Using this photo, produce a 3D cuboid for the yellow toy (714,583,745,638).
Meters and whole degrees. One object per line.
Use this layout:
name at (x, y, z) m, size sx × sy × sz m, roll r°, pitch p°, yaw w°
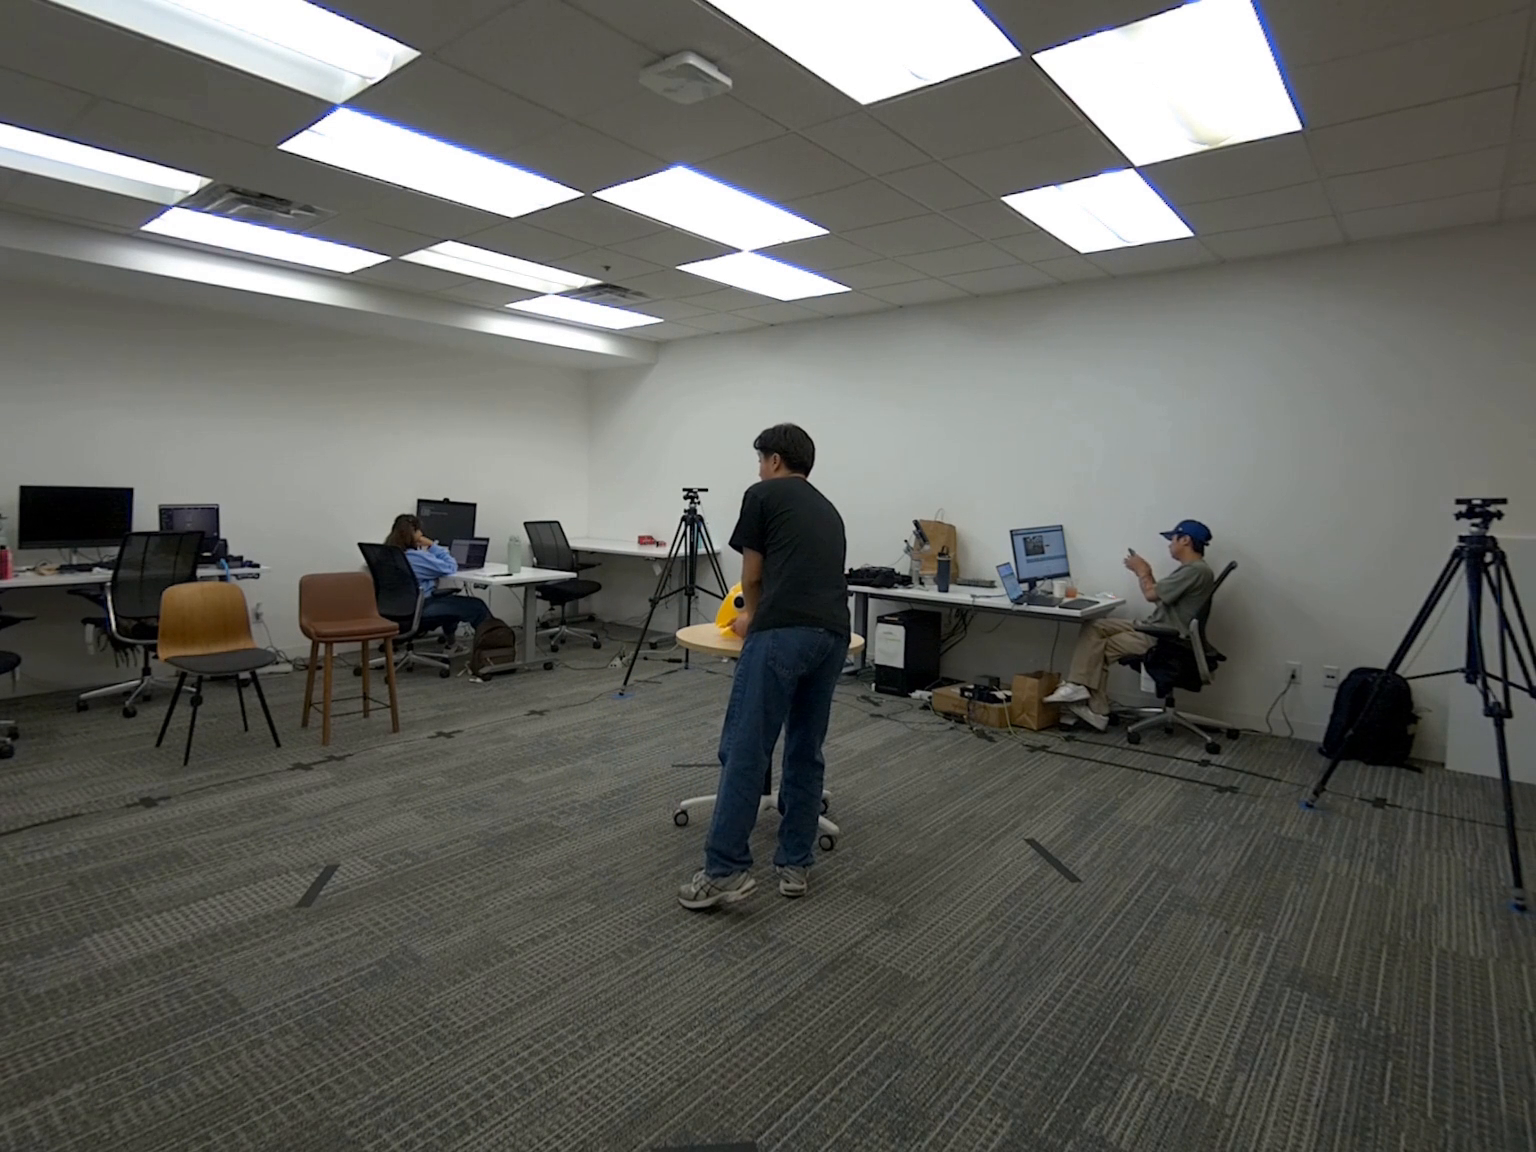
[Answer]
yellow toy at (-0.125, 0.099, 3.386) m, size 0.191 × 0.228 × 0.209 m, roll -1°, pitch 12°, yaw -12°
